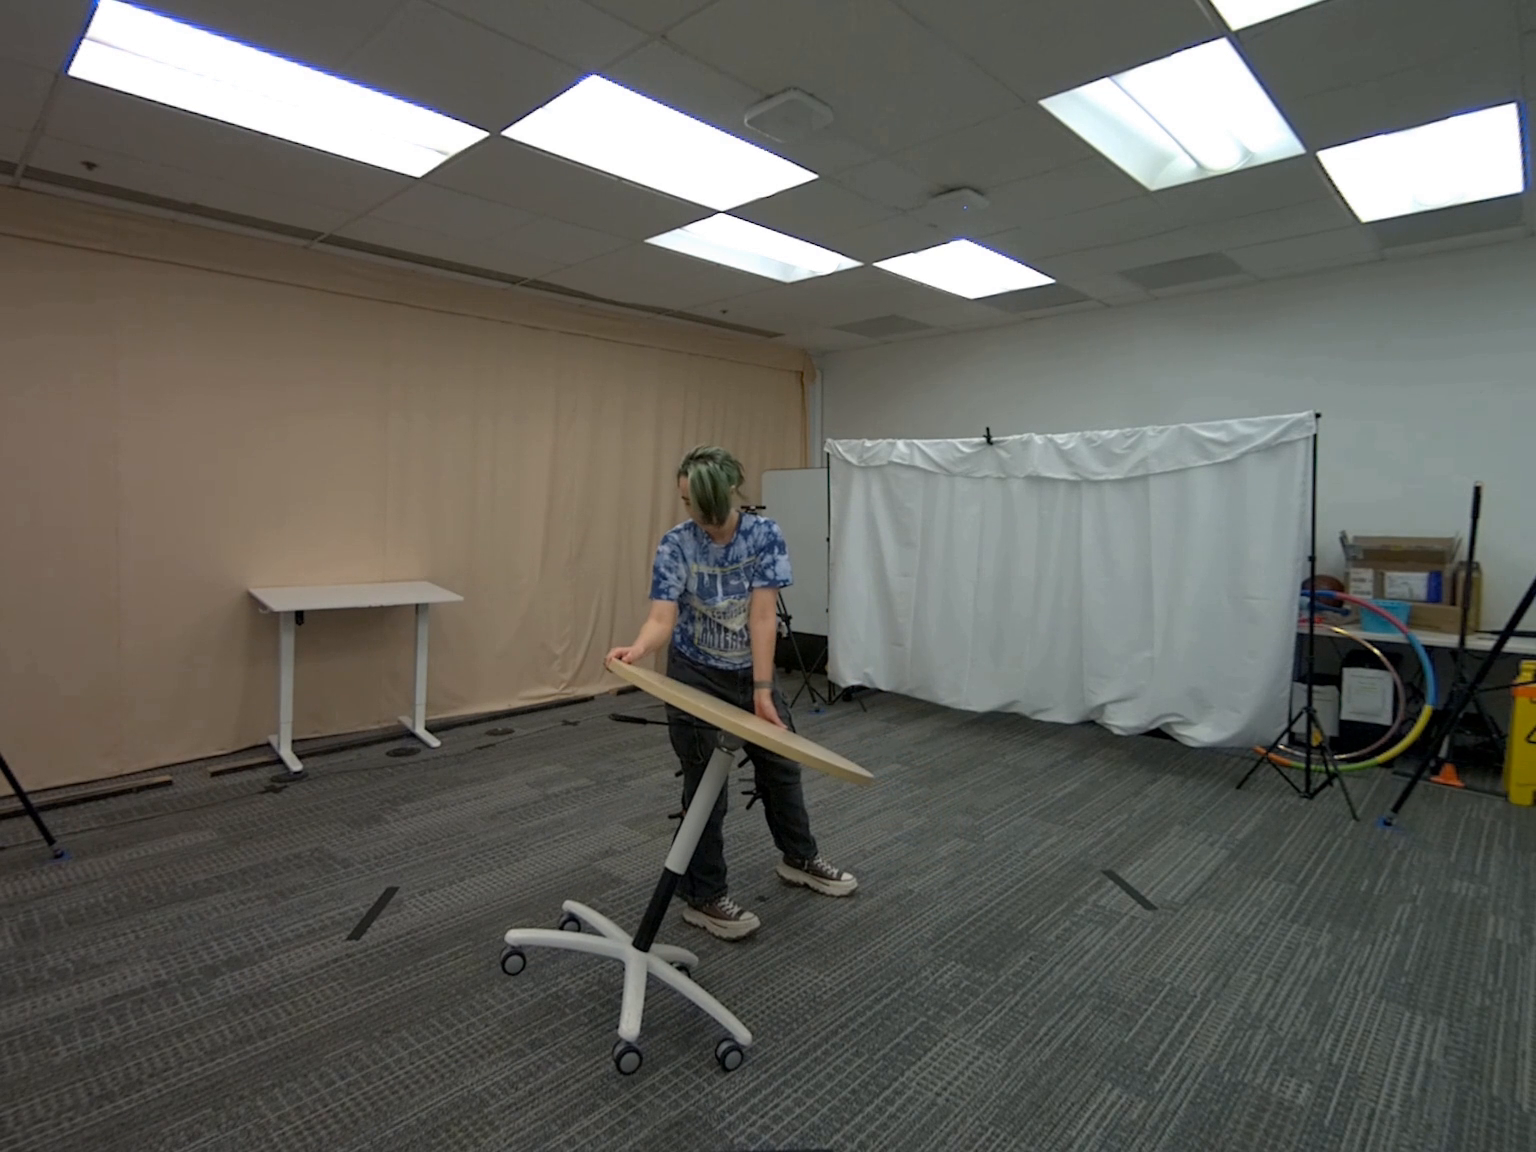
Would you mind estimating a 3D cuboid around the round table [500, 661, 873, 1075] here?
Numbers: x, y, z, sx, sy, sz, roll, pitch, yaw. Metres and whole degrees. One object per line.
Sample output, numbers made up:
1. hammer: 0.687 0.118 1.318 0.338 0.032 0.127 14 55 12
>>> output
1. round table: -0.239 0.741 2.227 0.766 0.794 0.761 23 -7 1
